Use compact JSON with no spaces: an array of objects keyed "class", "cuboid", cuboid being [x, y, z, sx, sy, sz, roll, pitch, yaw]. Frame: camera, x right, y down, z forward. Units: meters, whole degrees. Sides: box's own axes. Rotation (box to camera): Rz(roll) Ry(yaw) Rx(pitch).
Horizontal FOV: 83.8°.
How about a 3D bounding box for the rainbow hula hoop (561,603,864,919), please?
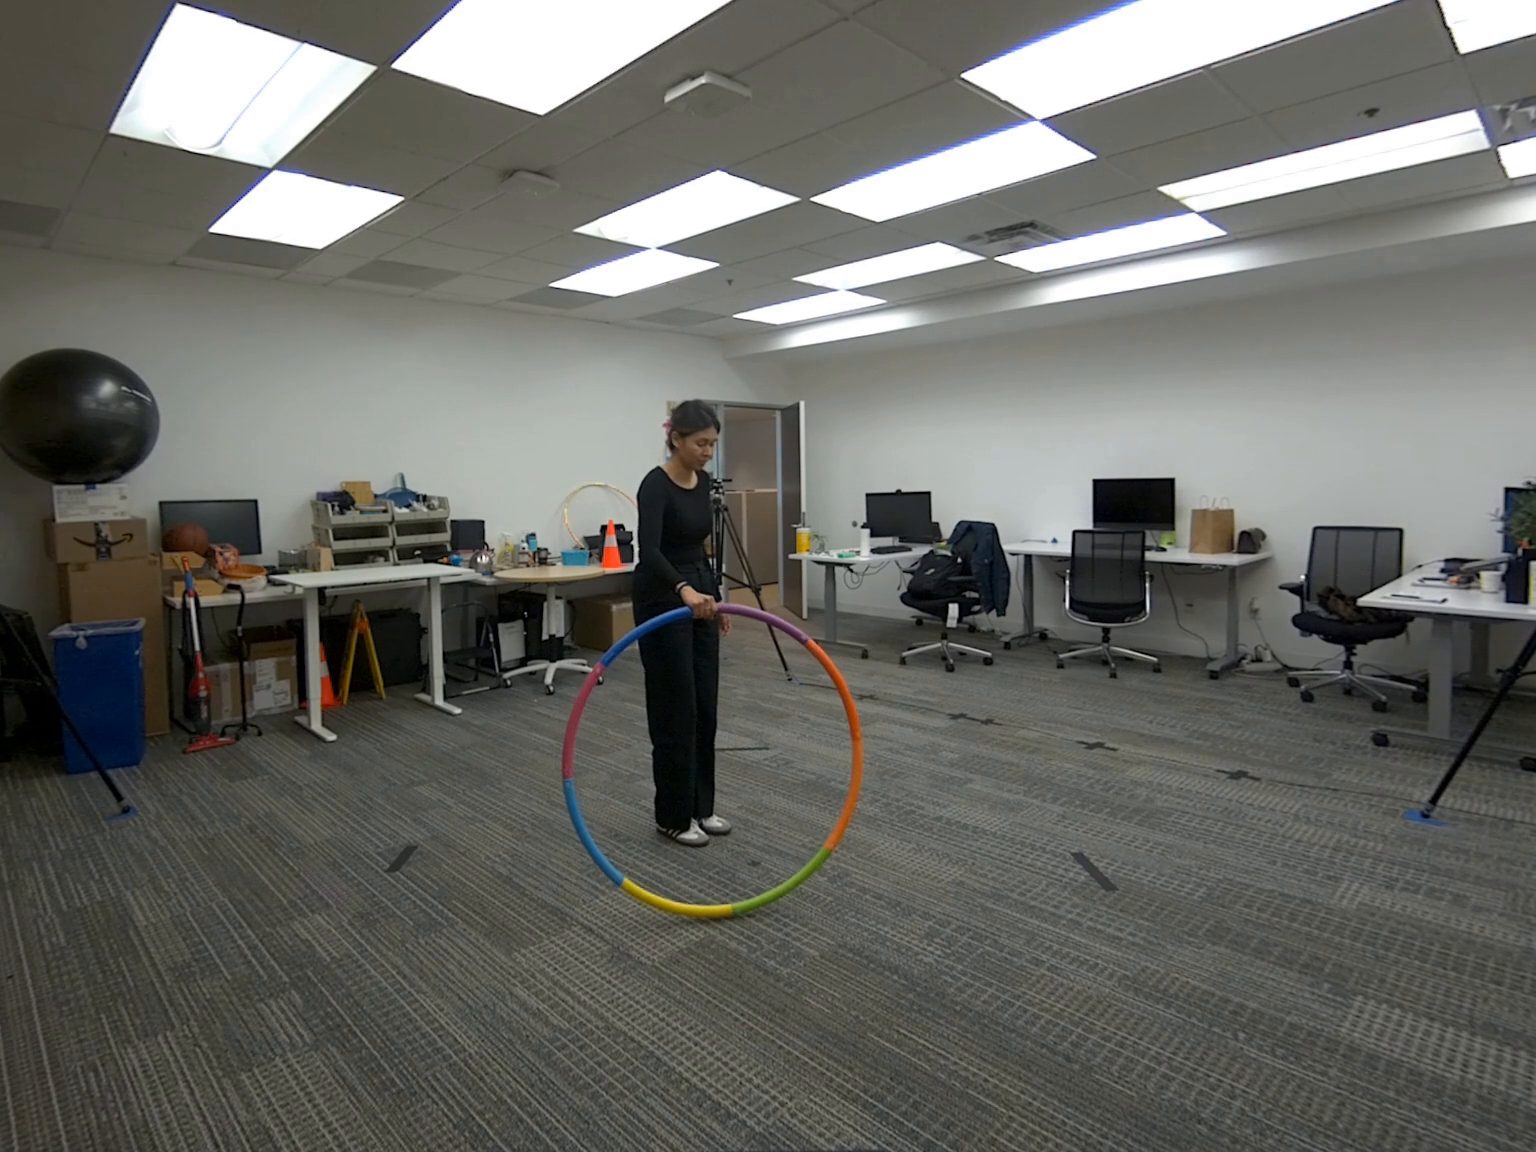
[{"class":"rainbow hula hoop","cuboid":[-0.164,0.587,2.755,0.969,0.983,0.036,-2,-4,-10]}]
